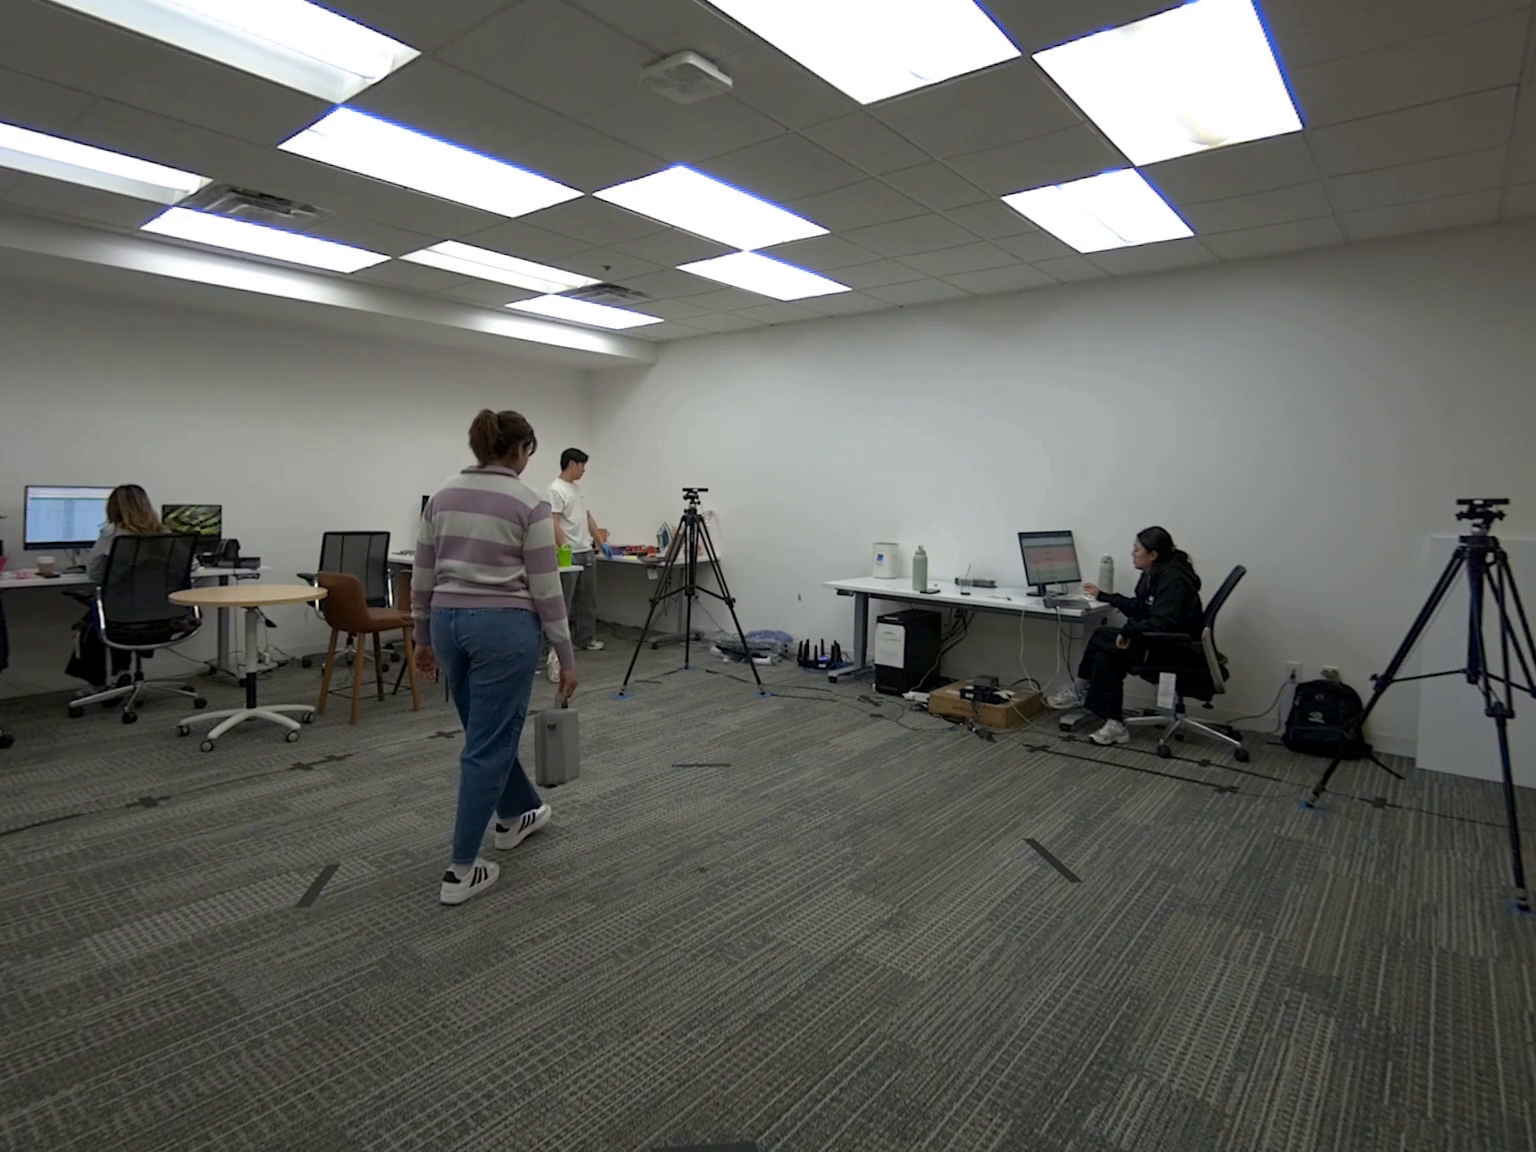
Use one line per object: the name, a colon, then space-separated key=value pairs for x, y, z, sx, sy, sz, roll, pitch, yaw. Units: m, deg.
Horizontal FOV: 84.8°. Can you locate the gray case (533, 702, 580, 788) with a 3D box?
gray case: x=-0.743 y=0.586 z=2.966 sx=0.104 sy=0.263 sz=0.254 roll=-2 pitch=-7 yaw=0
